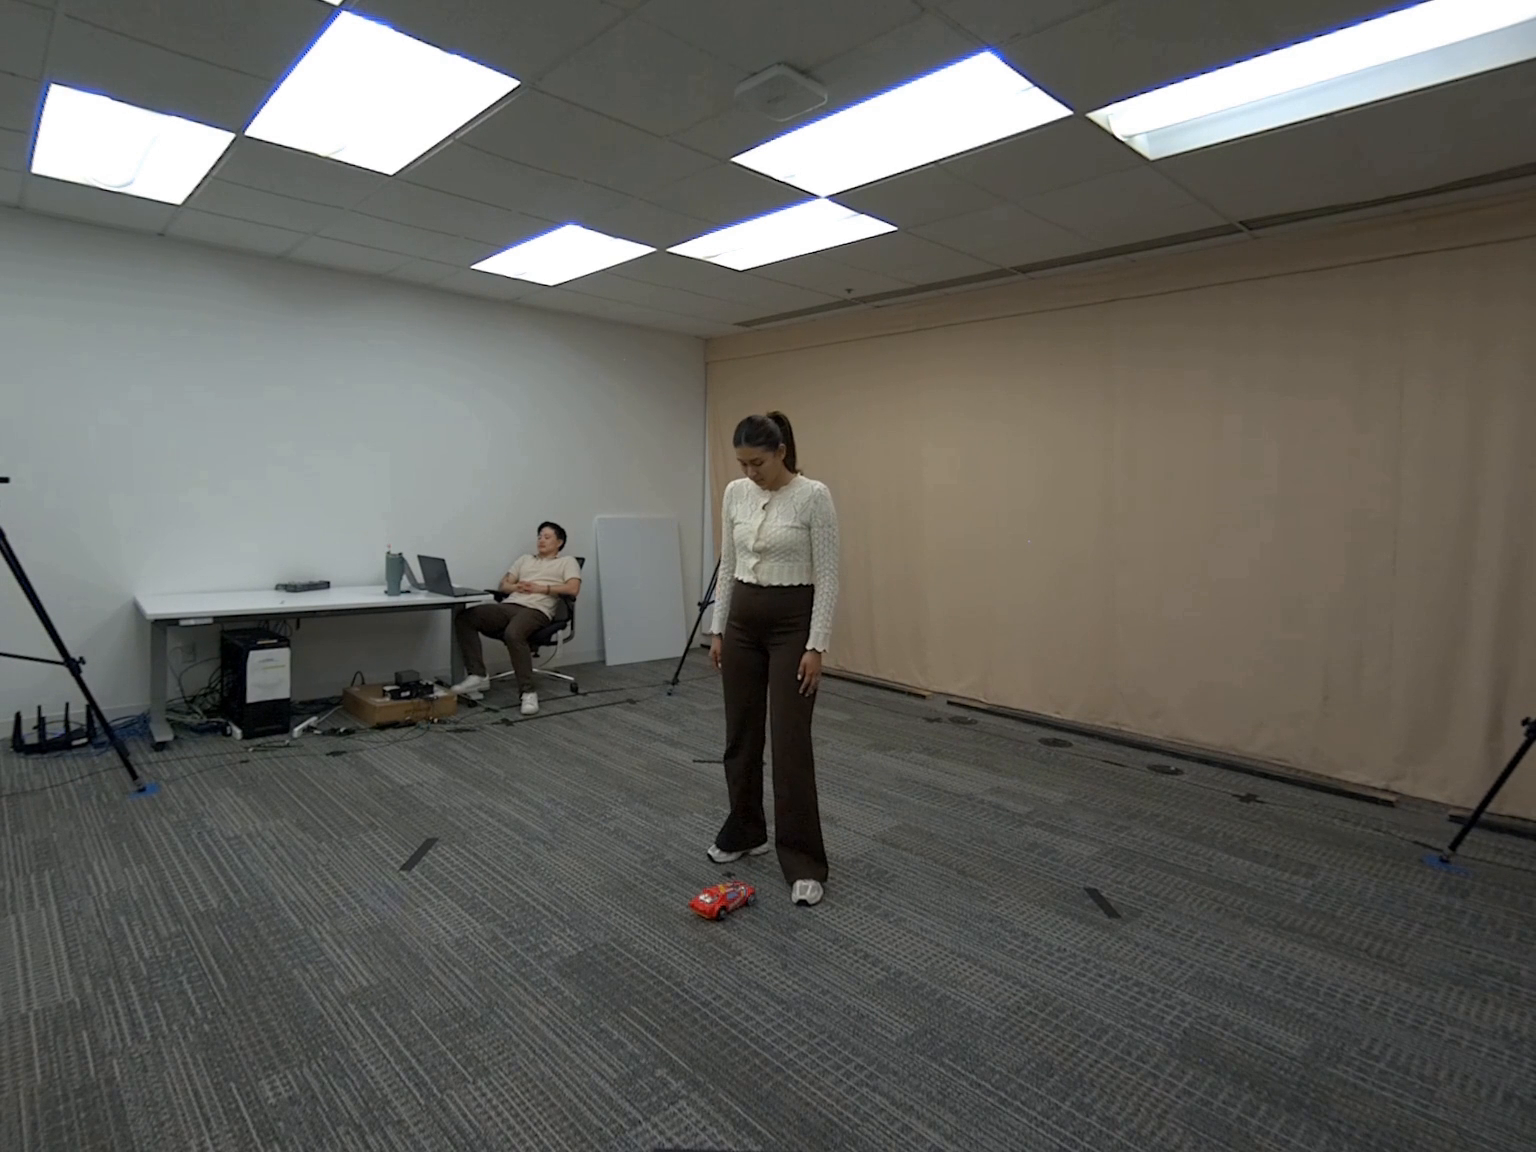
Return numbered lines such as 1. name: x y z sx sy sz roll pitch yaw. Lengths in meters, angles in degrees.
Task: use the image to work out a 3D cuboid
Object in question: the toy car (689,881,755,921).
1. toy car: -0.168 1.102 2.833 0.133 0.083 0.247 5 -6 42
